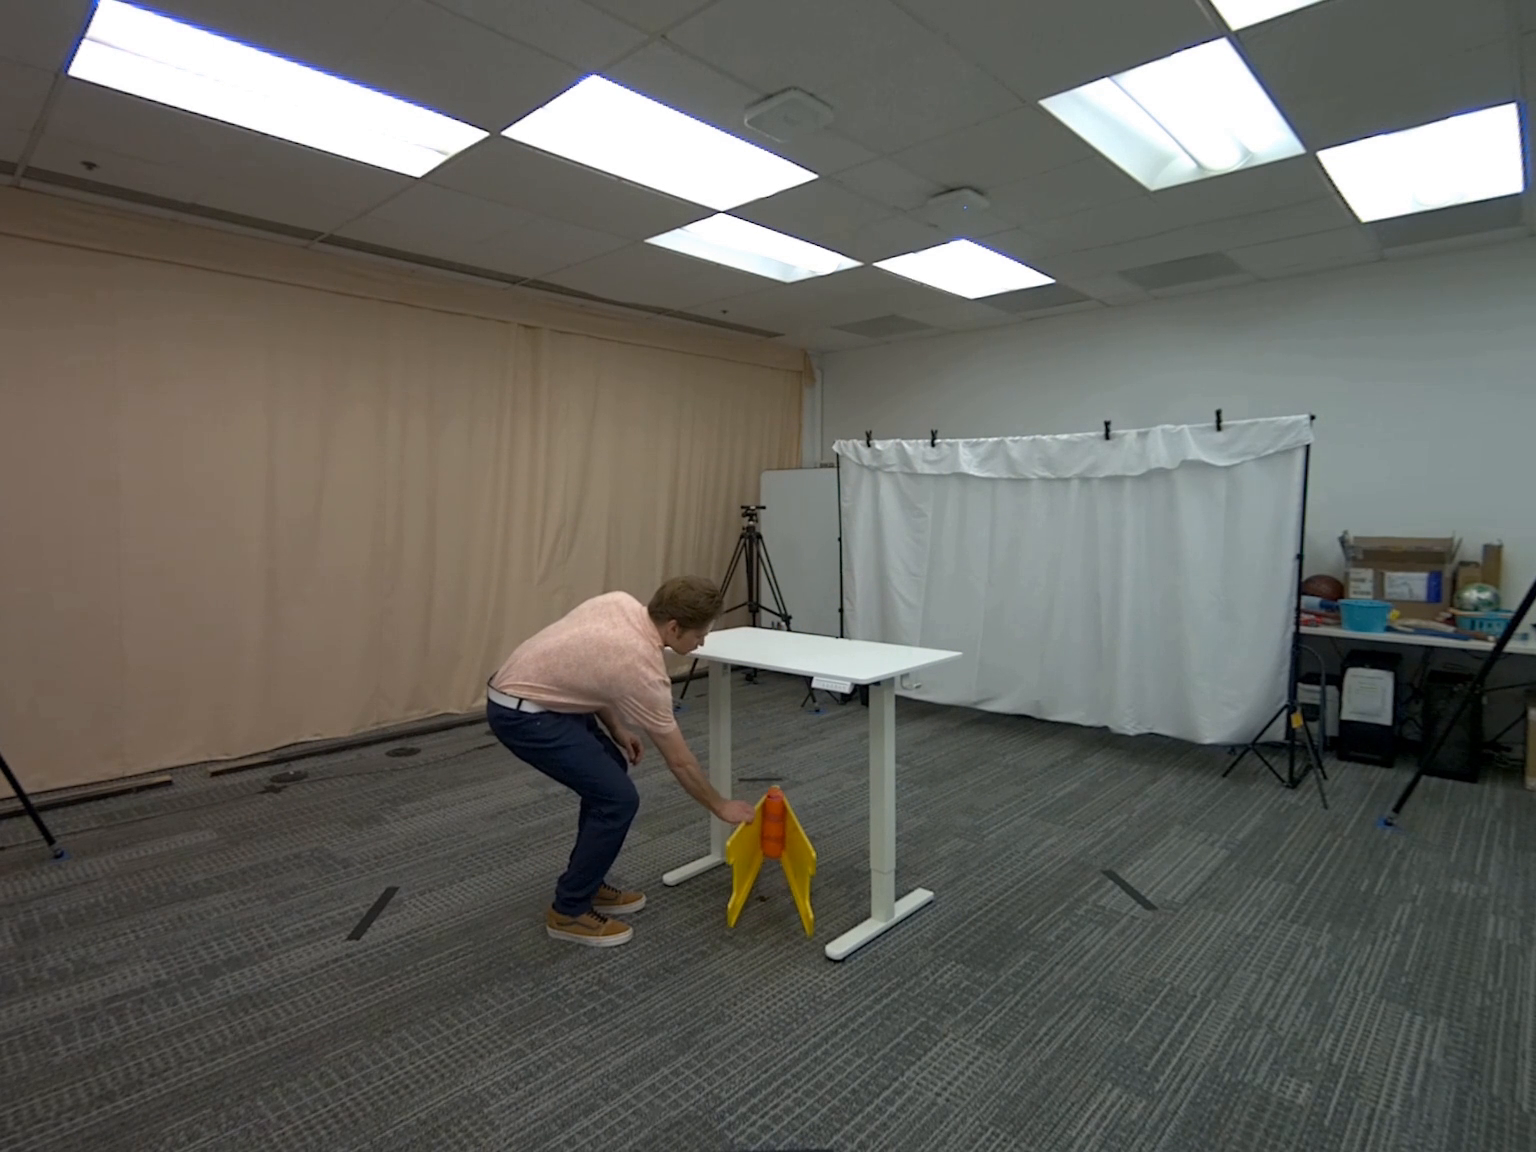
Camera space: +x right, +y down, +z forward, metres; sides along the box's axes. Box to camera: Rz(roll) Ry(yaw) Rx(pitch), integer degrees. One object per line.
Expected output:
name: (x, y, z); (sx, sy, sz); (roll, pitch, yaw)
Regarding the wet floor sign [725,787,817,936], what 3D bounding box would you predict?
wet floor sign: (0.009, 0.951, 2.952); (0.291, 0.281, 0.646); (6, 6, 1)
